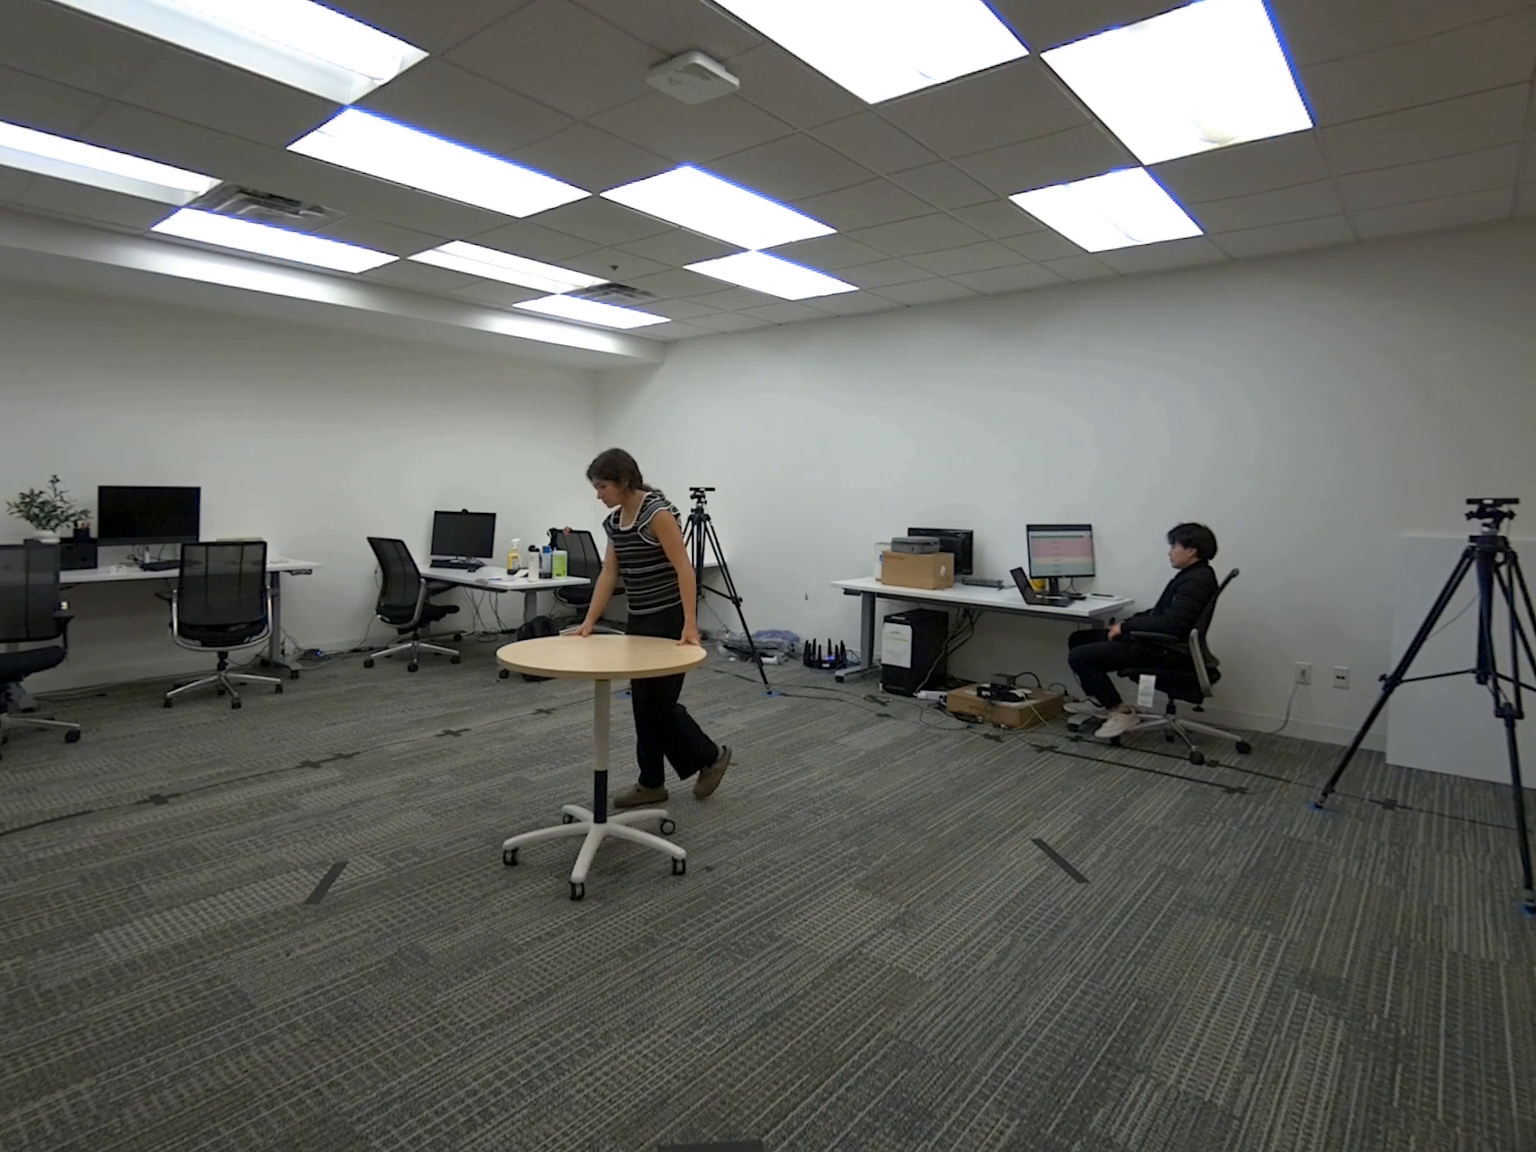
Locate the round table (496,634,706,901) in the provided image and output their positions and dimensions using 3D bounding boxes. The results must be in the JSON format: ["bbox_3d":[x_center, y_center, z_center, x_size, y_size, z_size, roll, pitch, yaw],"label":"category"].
[{"bbox_3d":[-0.628,0.666,3.156,0.763,0.792,0.767,1,4,-2],"label":"round table"}]
